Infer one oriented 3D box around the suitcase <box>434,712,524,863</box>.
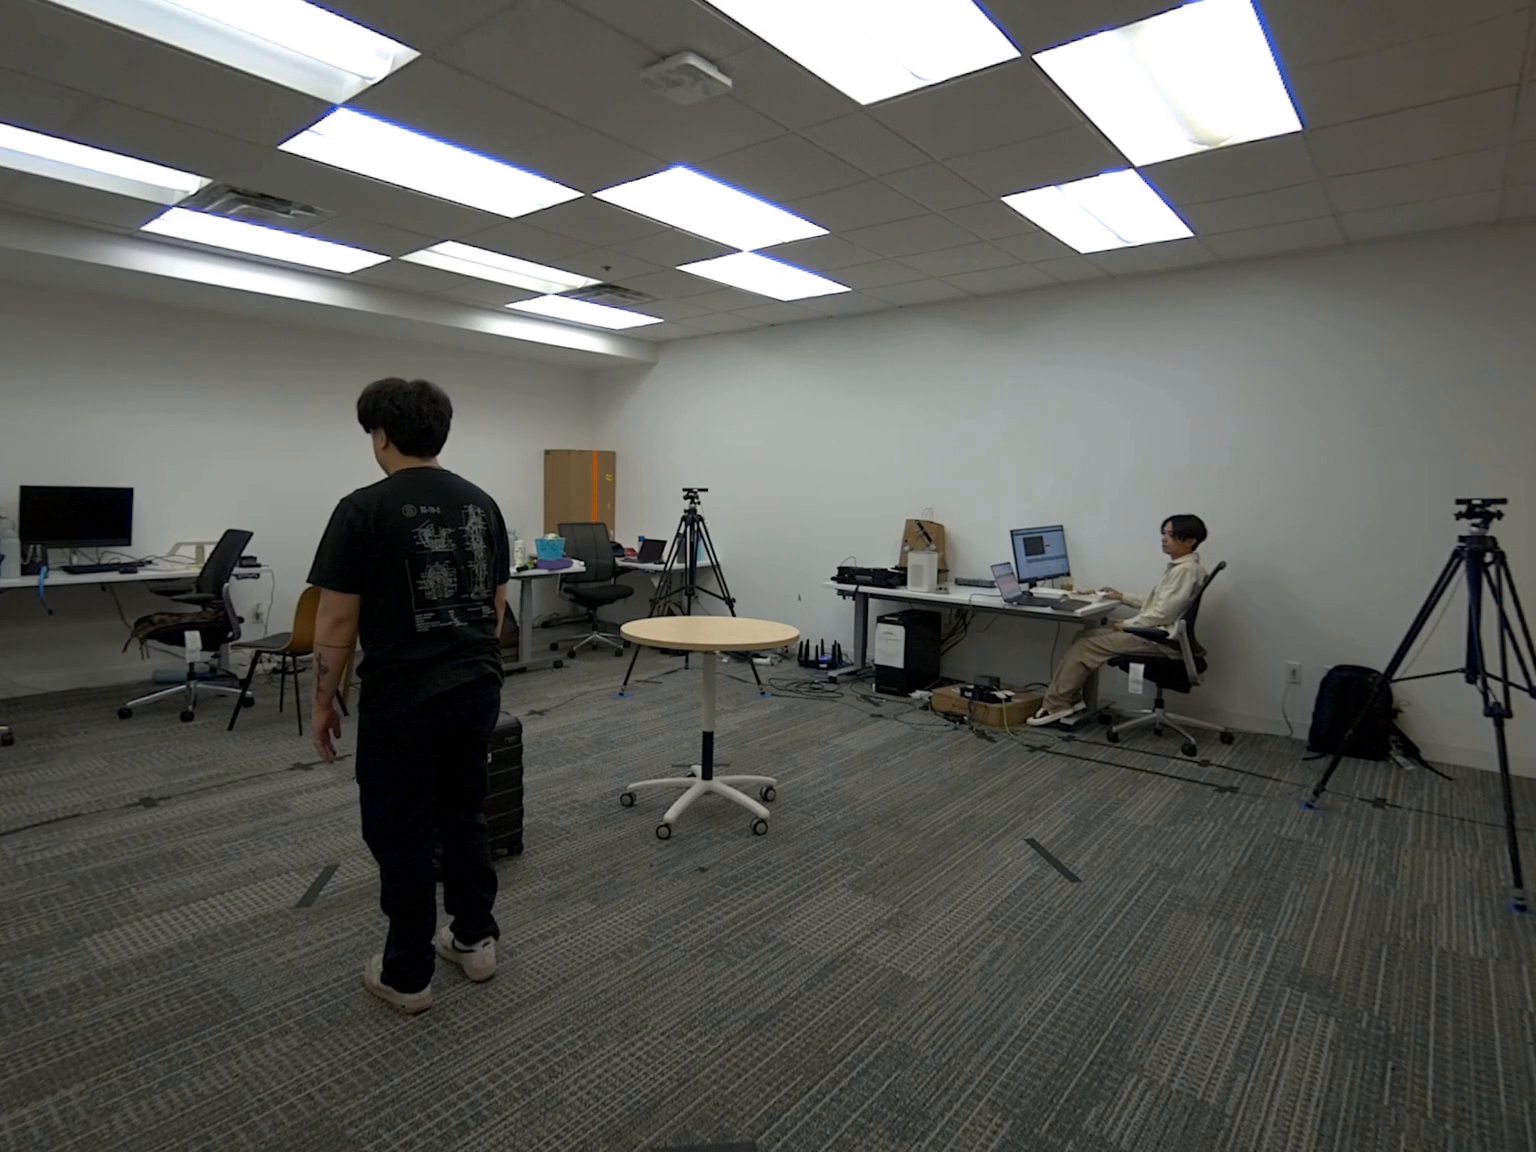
[{"bbox_3d":[-1.118,0.778,3.140,0.257,0.547,0.364,5,5,38],"label":"suitcase"}]
